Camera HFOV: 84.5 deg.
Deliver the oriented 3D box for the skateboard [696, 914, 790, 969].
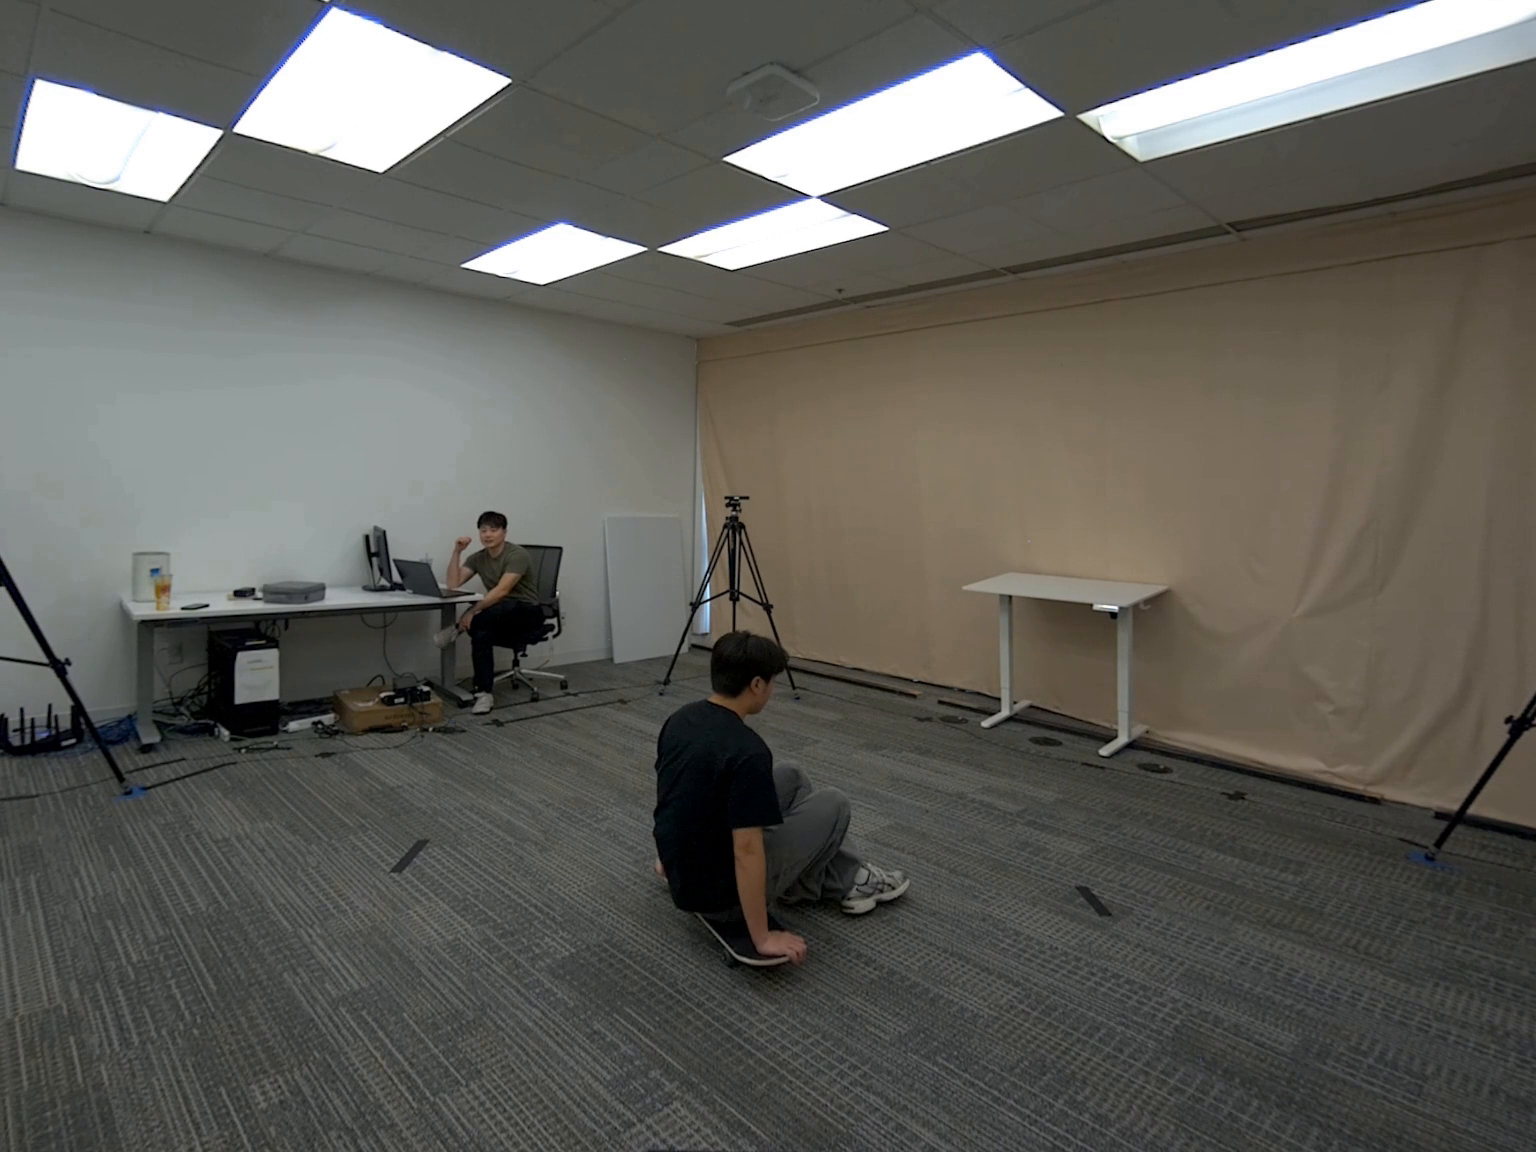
[{"bbox_3d":[-0.143,1.090,2.715,0.190,0.110,0.803,-4,7,-28],"label":"skateboard"}]
